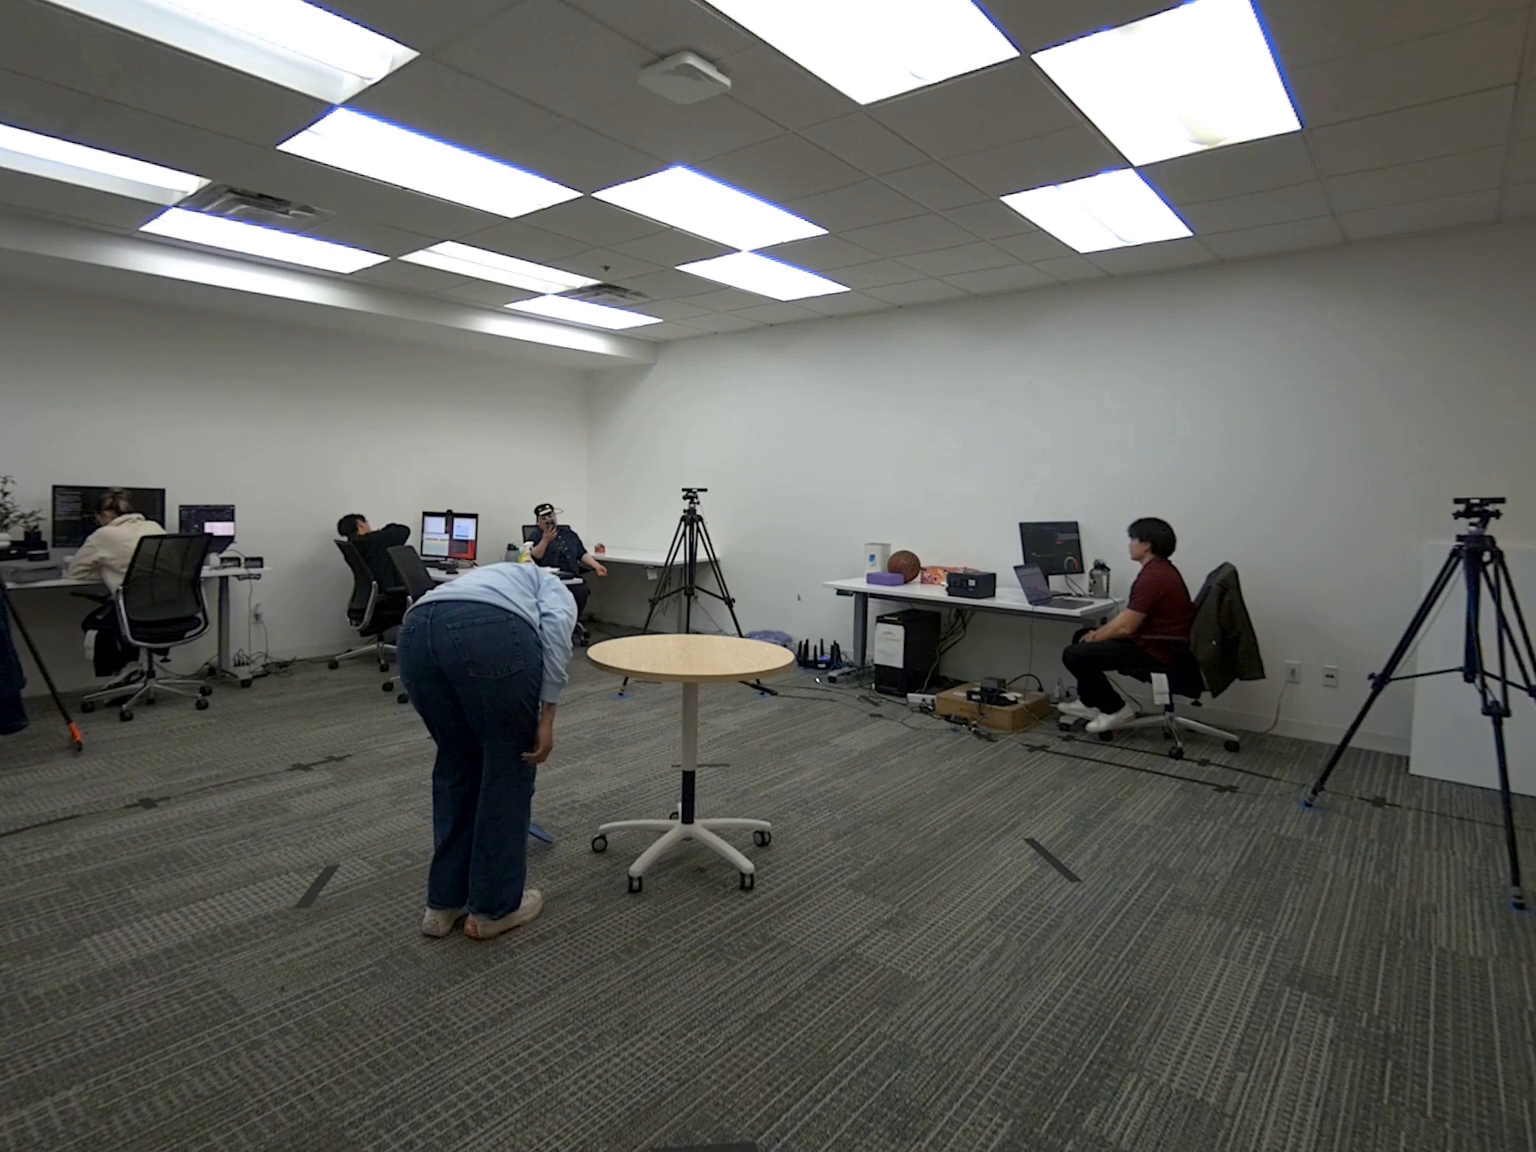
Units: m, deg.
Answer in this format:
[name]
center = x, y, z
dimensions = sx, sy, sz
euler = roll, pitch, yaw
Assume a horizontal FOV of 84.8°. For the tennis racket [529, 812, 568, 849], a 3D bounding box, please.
[tennis racket]
center = -0.960, 0.902, 3.177
dimensions = 0.222, 0.032, 0.415
euler = 21, -19, 40
